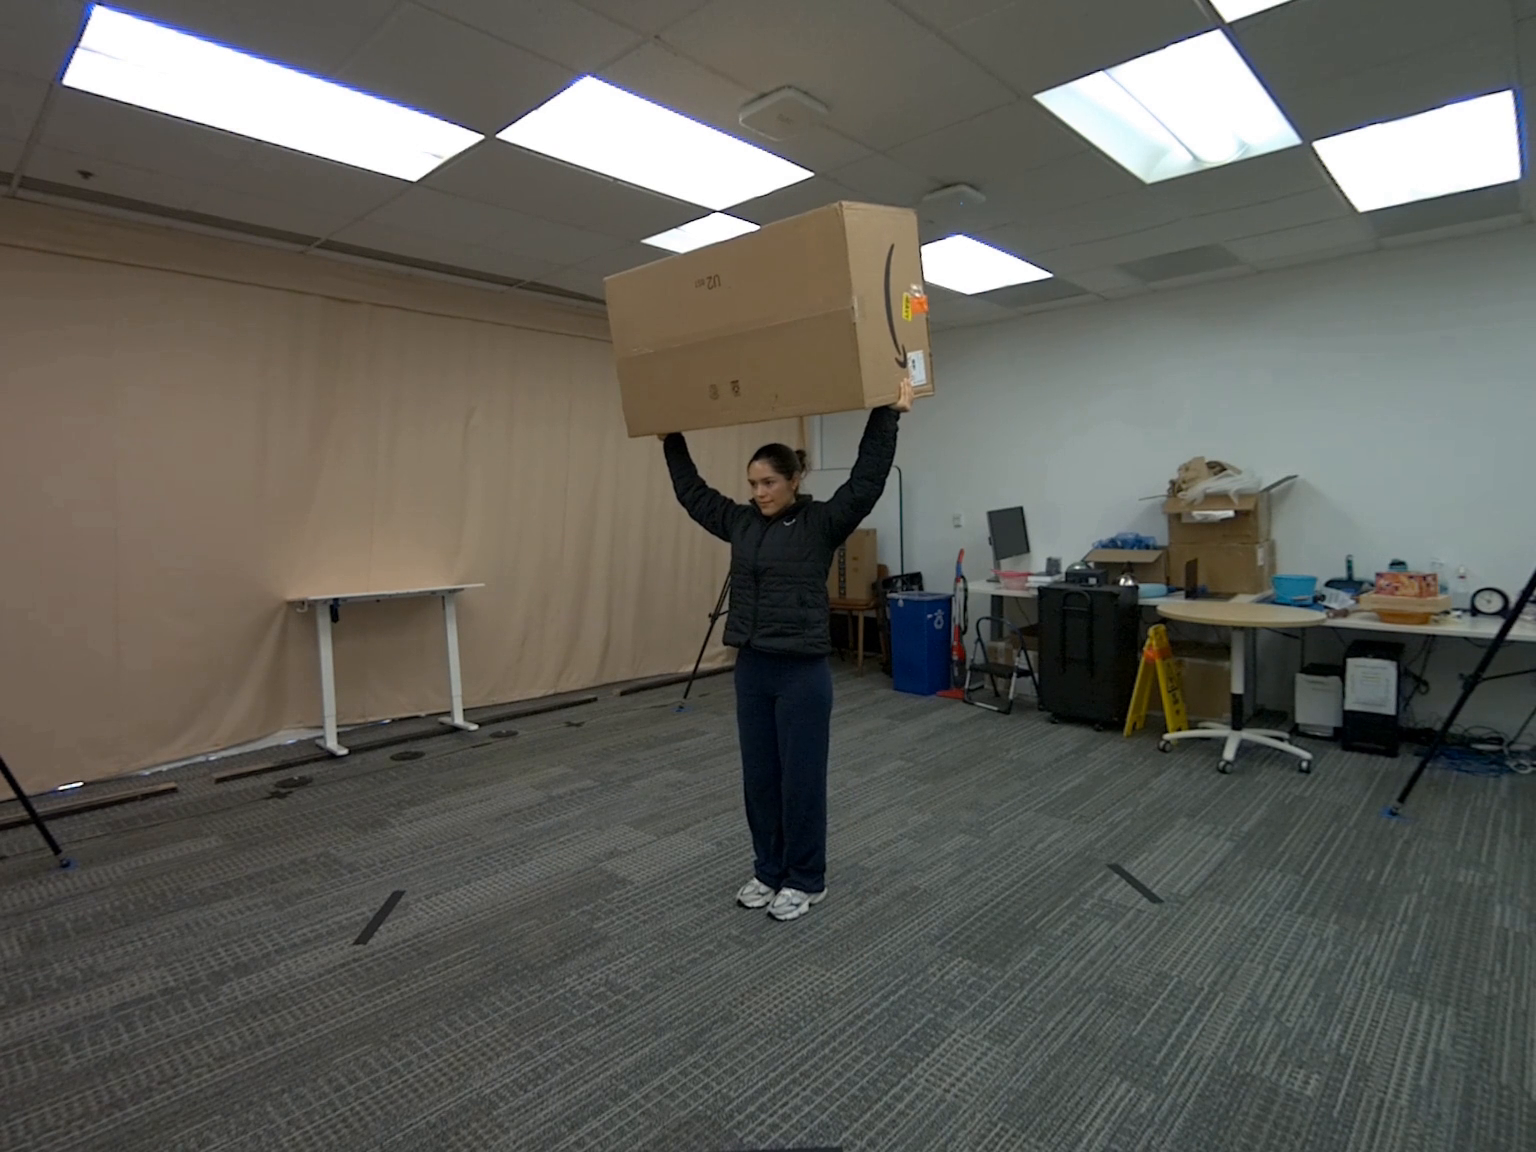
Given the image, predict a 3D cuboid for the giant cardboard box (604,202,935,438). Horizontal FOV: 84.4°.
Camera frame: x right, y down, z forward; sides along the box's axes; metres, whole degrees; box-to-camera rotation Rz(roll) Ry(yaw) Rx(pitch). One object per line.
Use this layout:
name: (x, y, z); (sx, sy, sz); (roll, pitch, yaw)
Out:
giant cardboard box: (-0.010, -0.812, 2.846); (1.061, 0.580, 0.436); (2, 13, 40)
